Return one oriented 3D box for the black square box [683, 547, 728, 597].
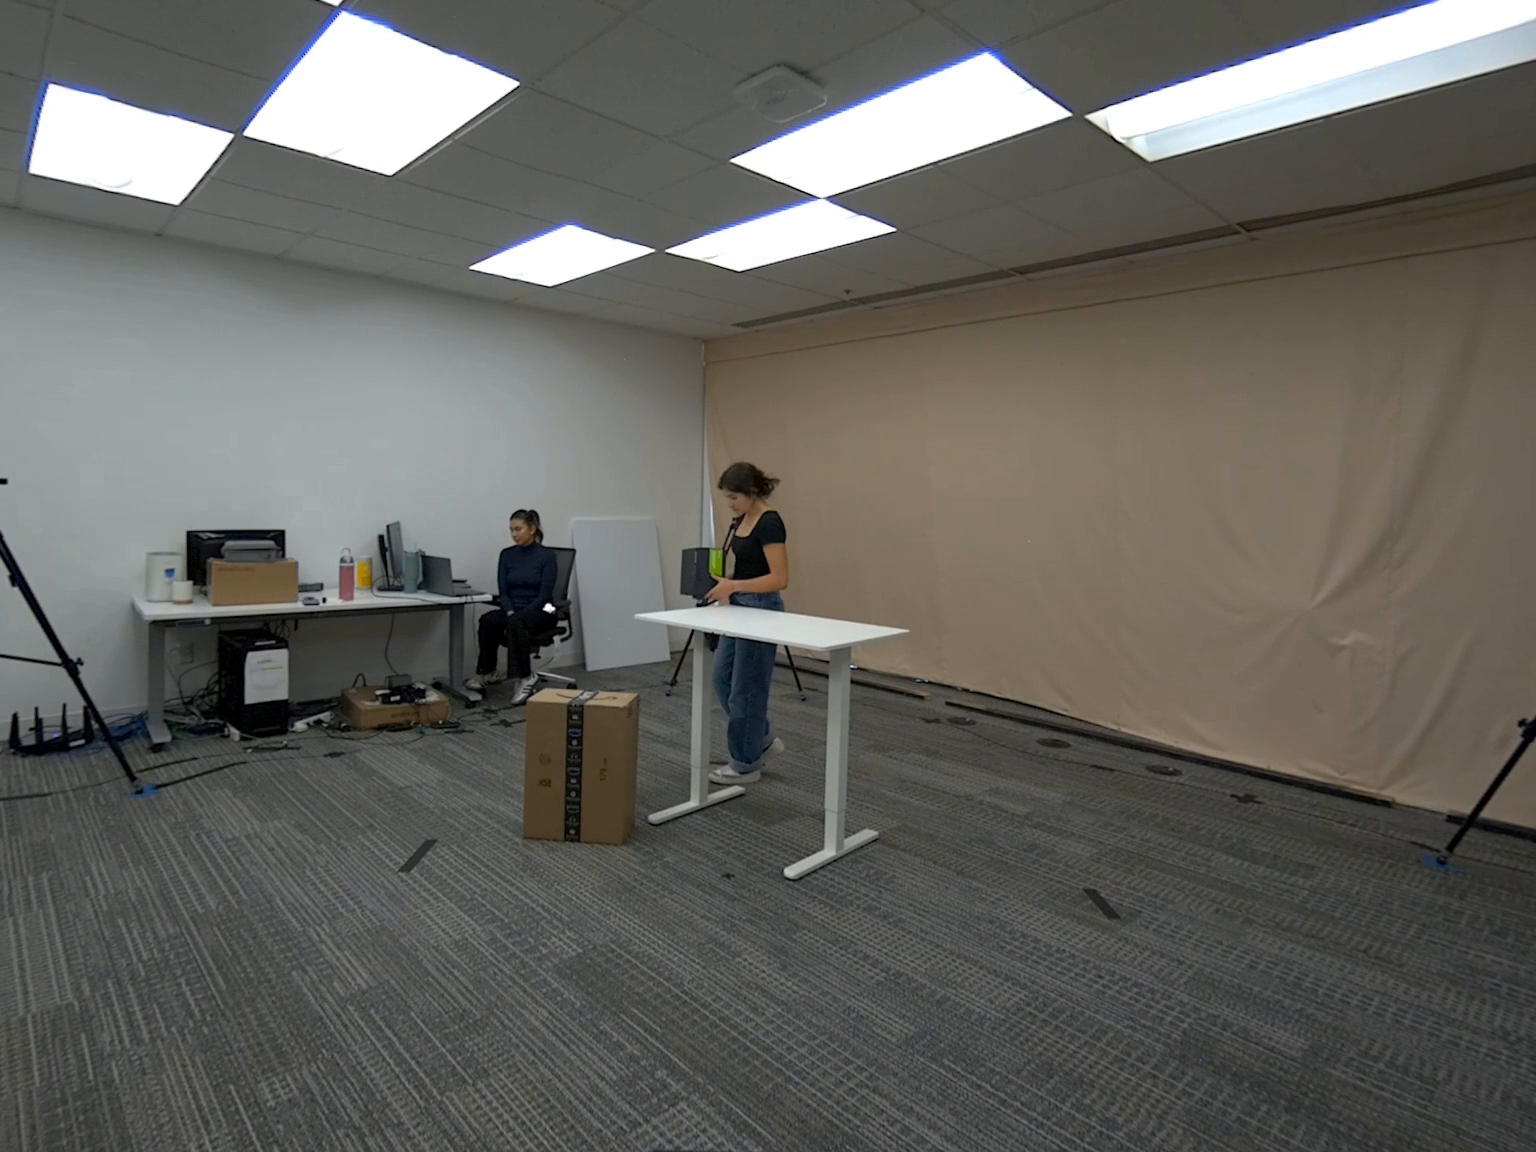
[{"bbox_3d":[-0.305,-0.018,4.077,0.154,0.228,0.219,2,-2,-17],"label":"black square box"}]
